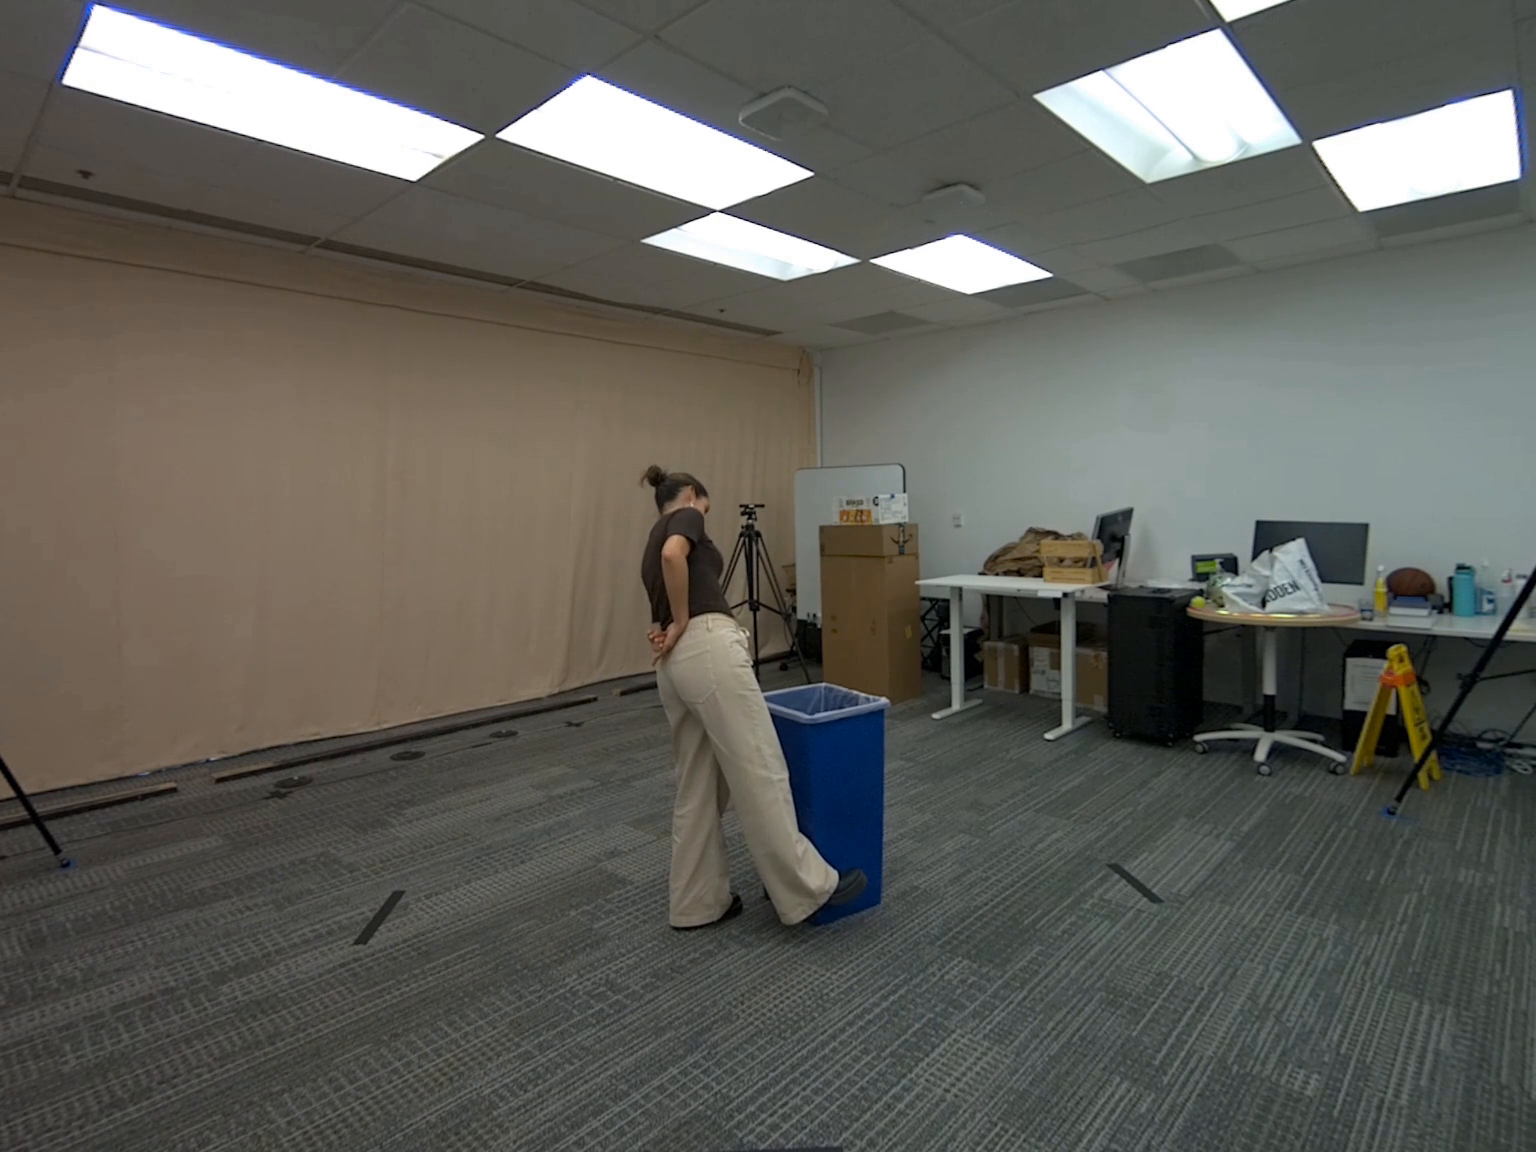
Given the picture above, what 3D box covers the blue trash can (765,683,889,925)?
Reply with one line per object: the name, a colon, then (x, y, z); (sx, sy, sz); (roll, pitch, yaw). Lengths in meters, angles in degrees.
blue trash can: (0.177, 0.780, 2.955); (0.367, 0.712, 0.386); (-4, 4, -34)
